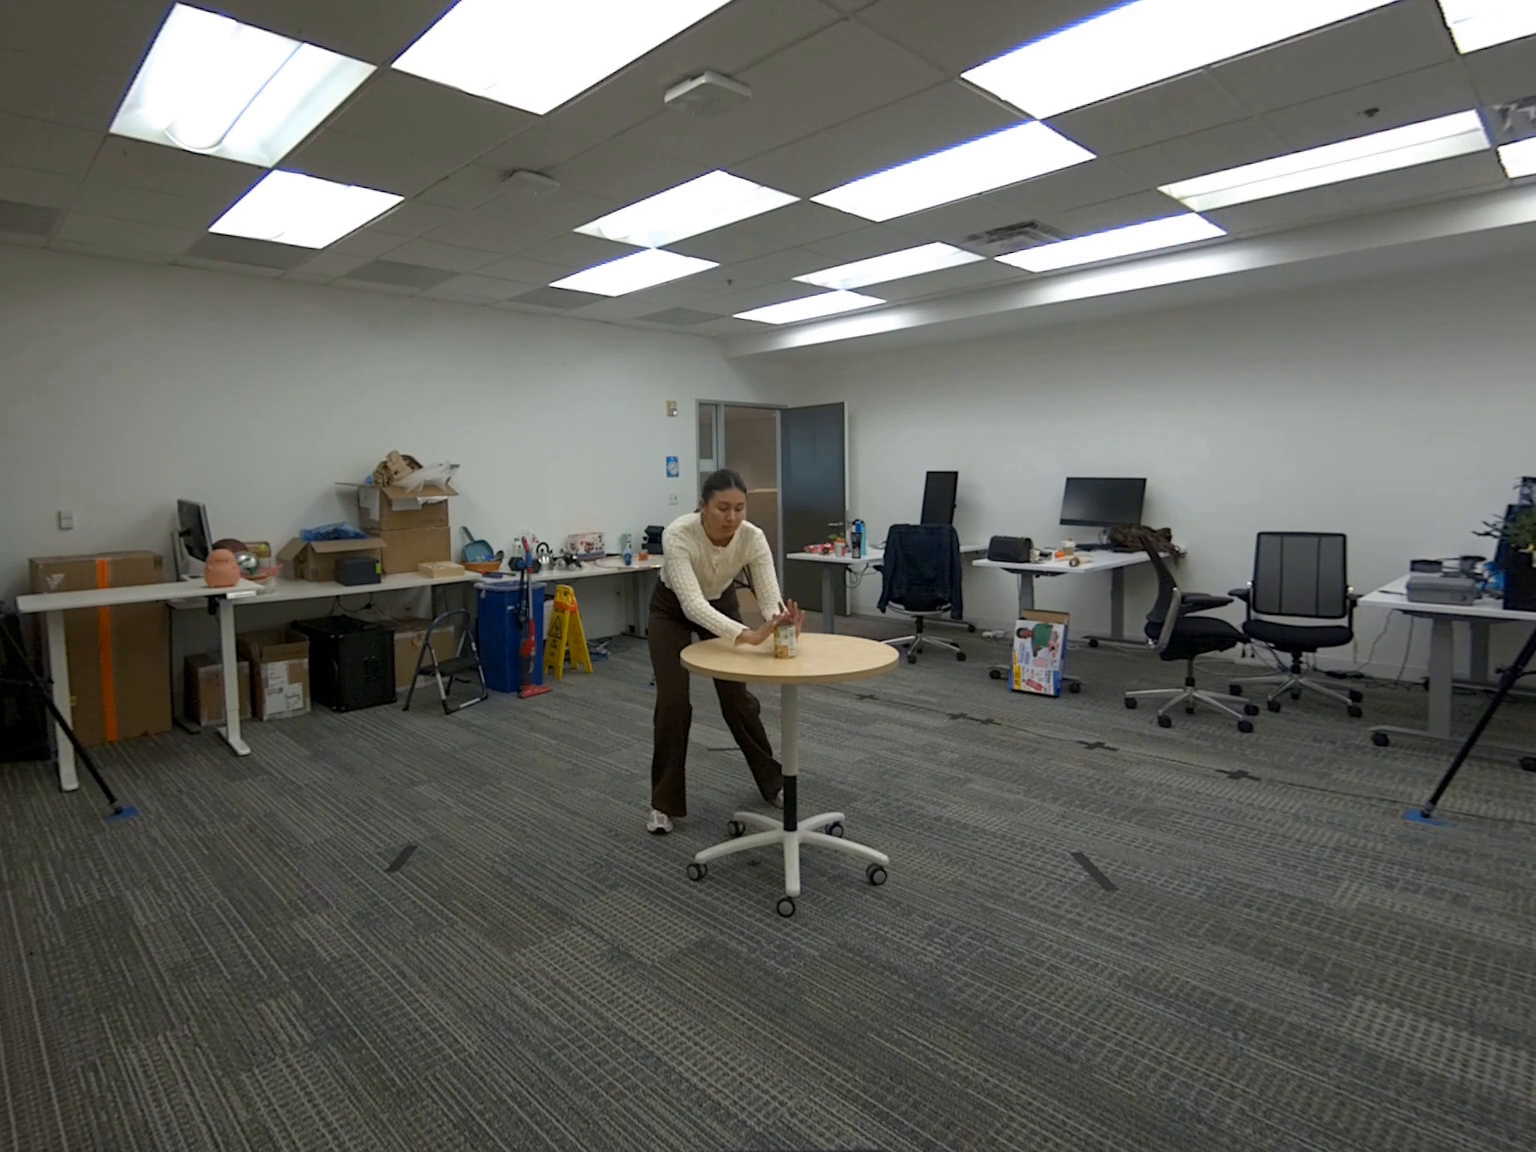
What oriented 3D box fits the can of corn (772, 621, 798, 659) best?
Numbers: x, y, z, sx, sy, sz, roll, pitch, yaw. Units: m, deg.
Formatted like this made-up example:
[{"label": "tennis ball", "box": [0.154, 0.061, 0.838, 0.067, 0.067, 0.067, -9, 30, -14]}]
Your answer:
[{"label": "can of corn", "box": [0.045, 0.225, 2.929, 0.074, 0.111, 0.074, -3, 2, -2]}]
